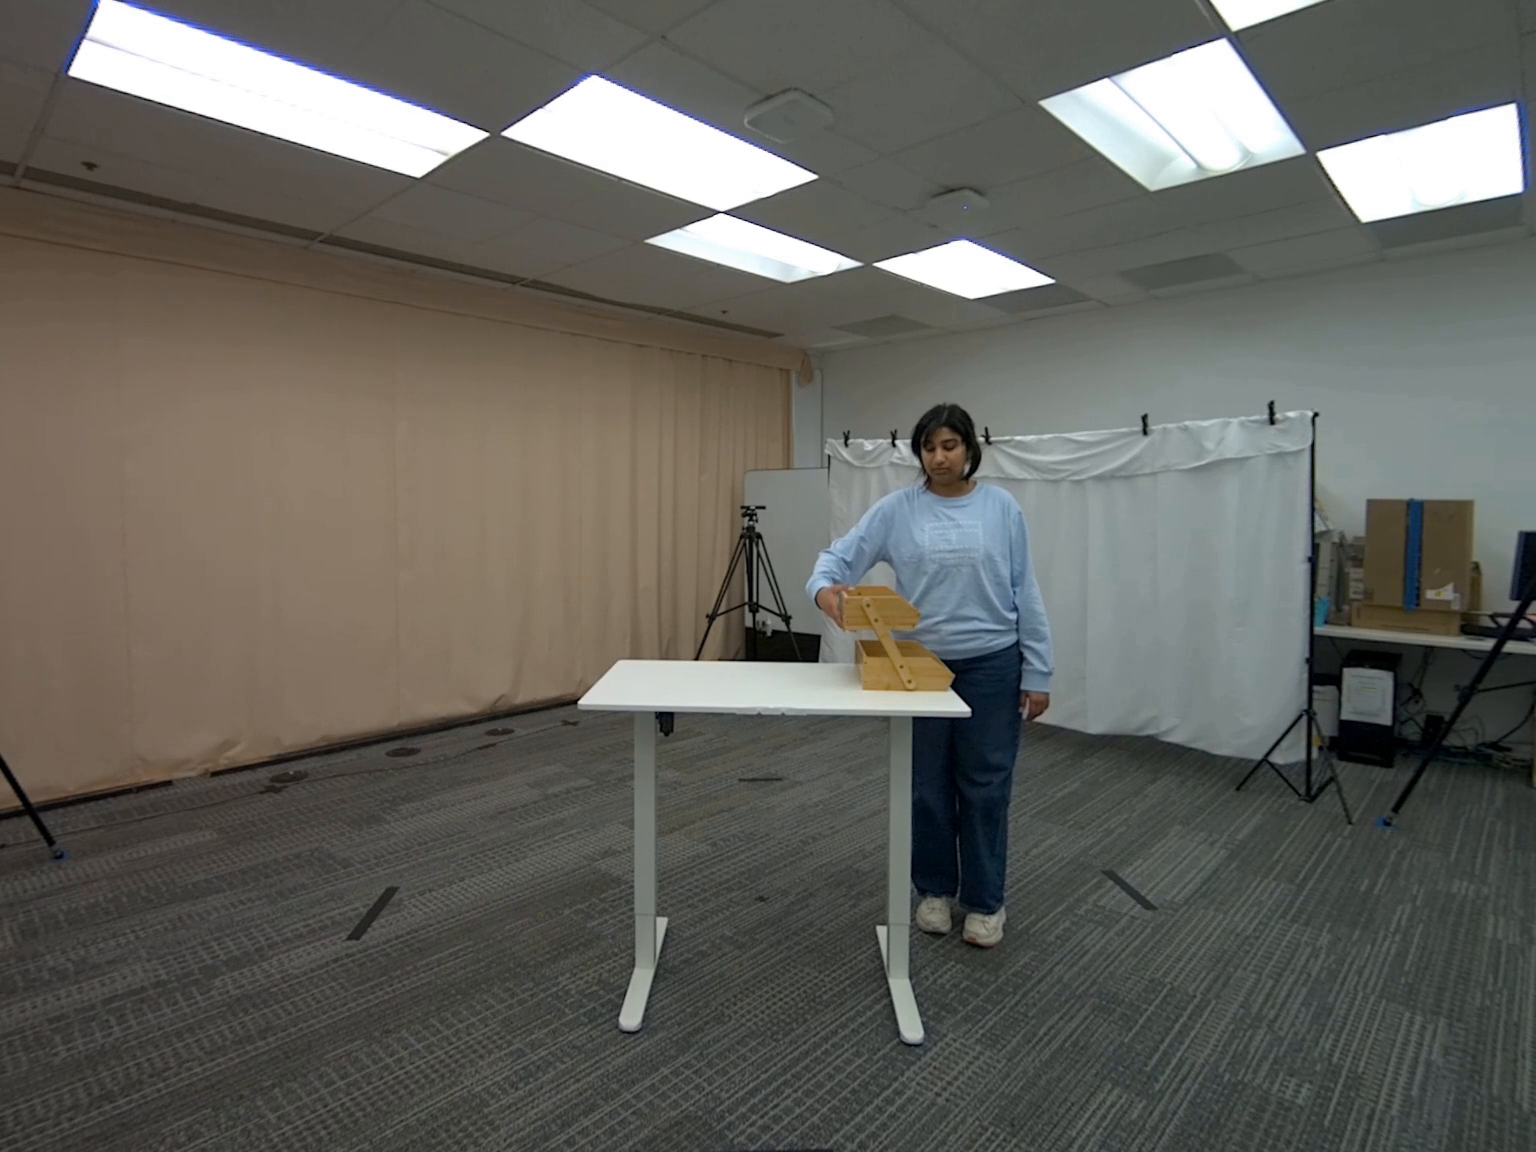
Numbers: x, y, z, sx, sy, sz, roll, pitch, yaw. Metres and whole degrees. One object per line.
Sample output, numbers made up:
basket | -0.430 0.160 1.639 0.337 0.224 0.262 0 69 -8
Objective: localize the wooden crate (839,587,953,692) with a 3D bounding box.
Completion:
wooden crate | 0.373 0.178 2.458 0.303 0.272 0.324 0 5 2
